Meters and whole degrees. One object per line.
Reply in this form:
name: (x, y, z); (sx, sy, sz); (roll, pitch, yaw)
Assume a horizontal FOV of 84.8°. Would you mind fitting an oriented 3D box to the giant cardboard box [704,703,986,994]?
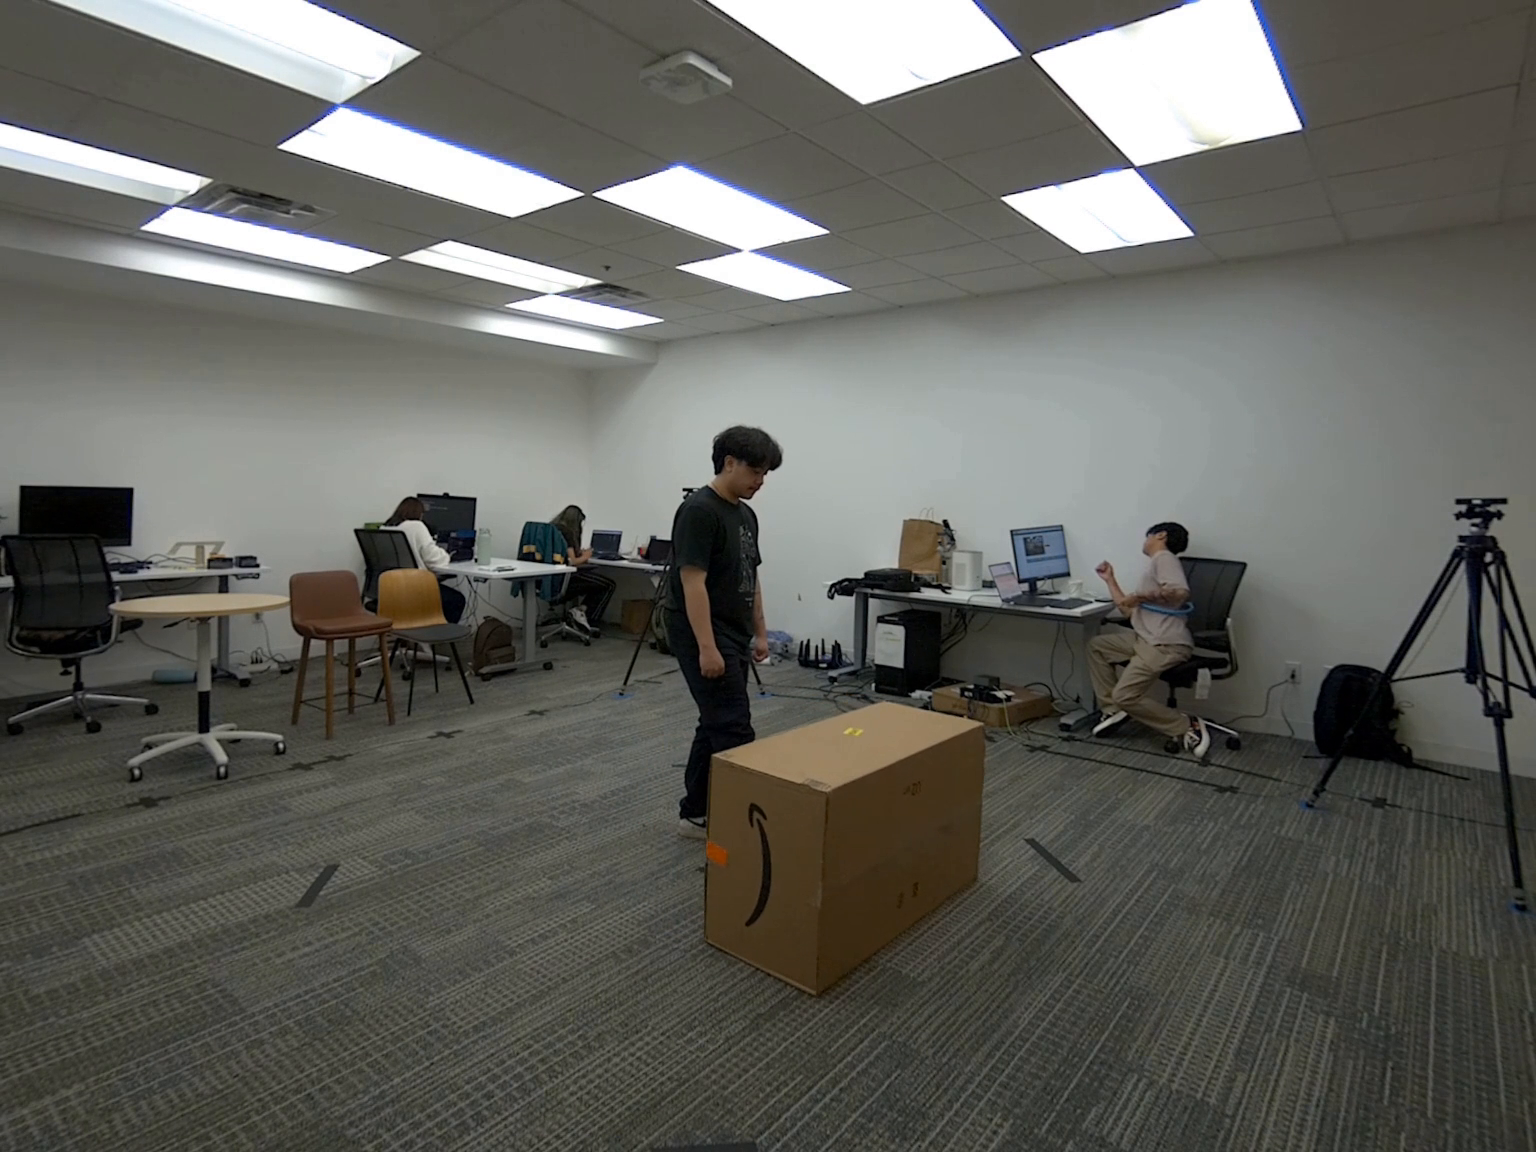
giant cardboard box: (0.286, 0.820, 2.833); (0.462, 0.582, 0.996); (3, 5, 39)
